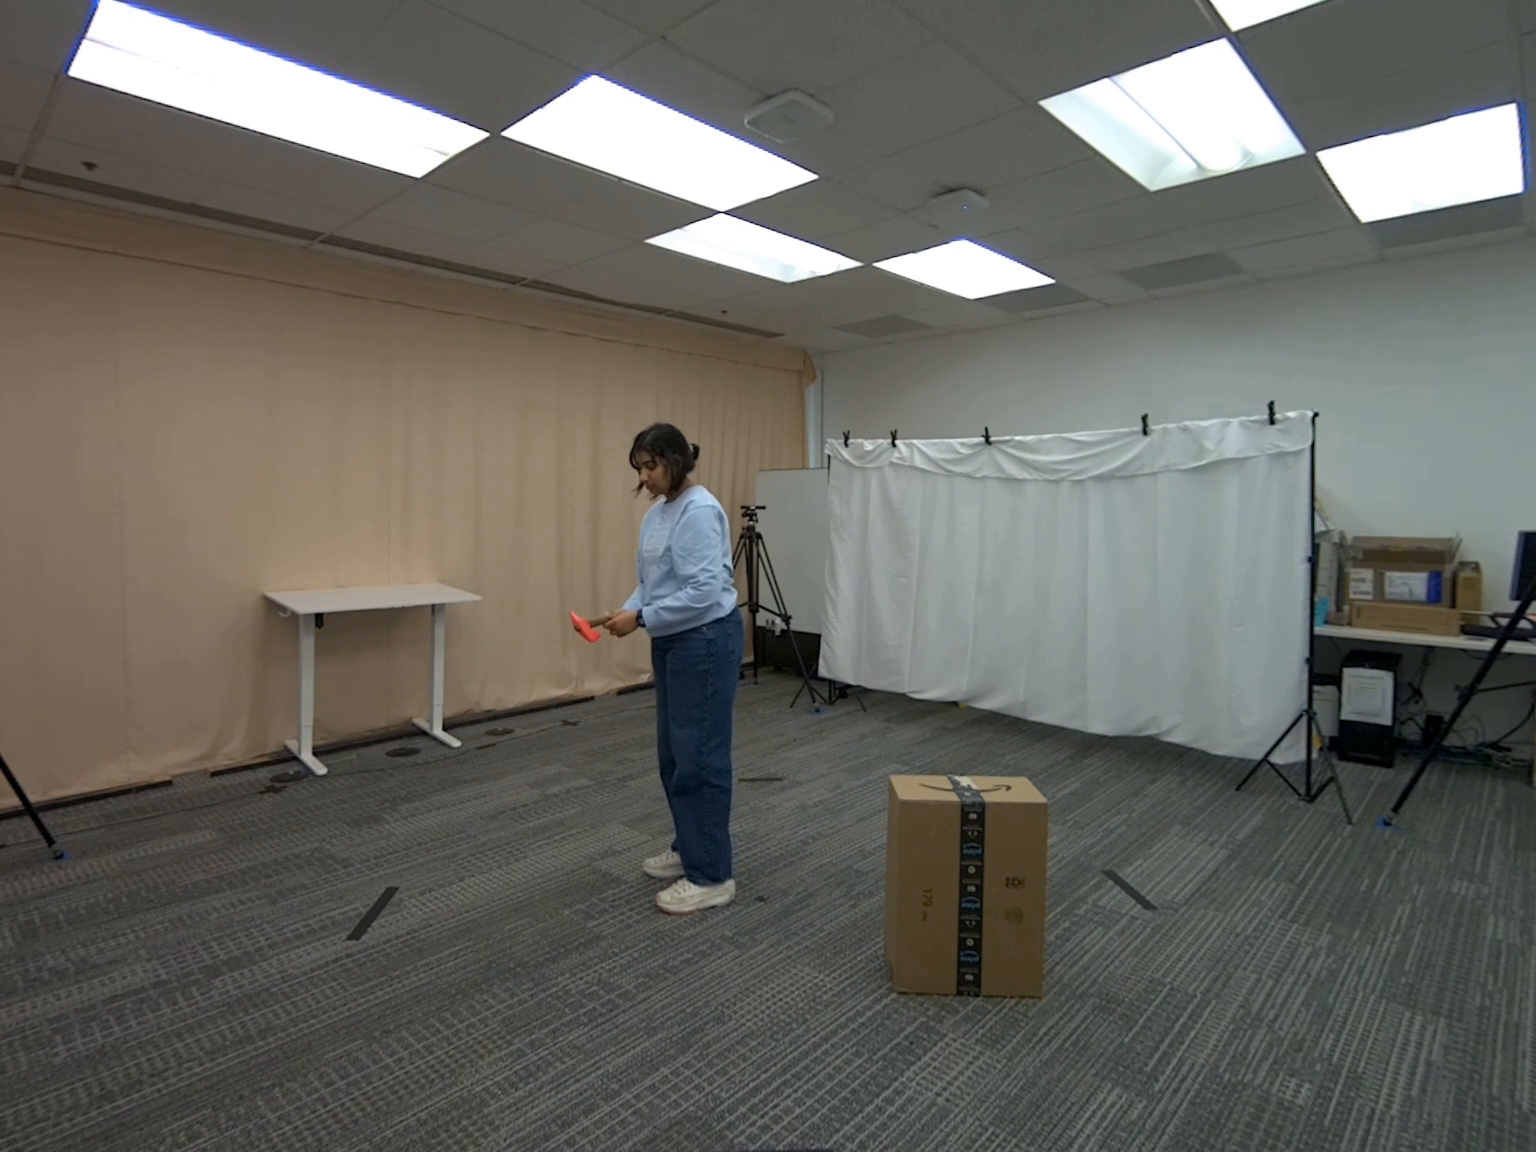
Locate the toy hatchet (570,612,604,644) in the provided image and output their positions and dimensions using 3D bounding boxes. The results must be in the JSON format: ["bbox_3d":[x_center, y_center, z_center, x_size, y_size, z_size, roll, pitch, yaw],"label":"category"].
[{"bbox_3d":[-0.561,0.190,2.922,0.261,0.030,0.135,13,38,-39],"label":"toy hatchet"}]
